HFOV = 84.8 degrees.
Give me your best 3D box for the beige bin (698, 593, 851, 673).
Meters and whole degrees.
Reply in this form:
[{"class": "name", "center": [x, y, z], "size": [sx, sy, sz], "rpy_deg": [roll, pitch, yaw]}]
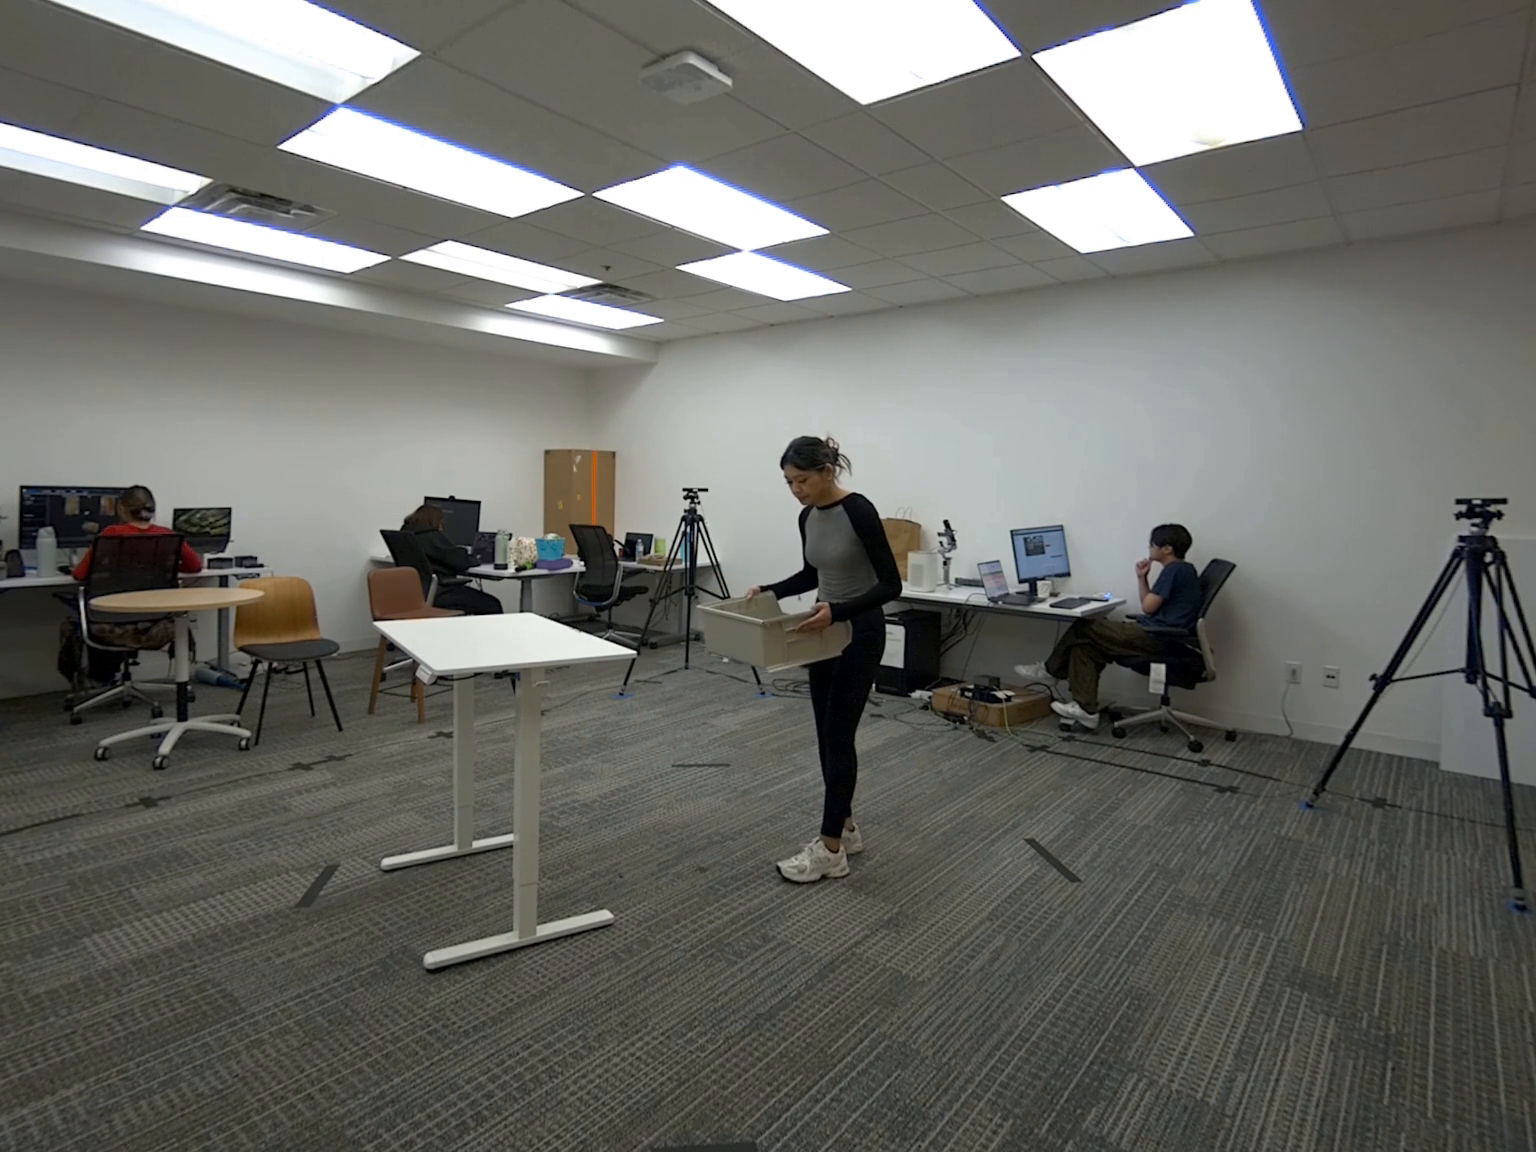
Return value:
[{"class": "beige bin", "center": [0.008, 0.181, 3.039], "size": [0.368, 0.187, 0.436], "rpy_deg": [-11, 11, -32]}]
